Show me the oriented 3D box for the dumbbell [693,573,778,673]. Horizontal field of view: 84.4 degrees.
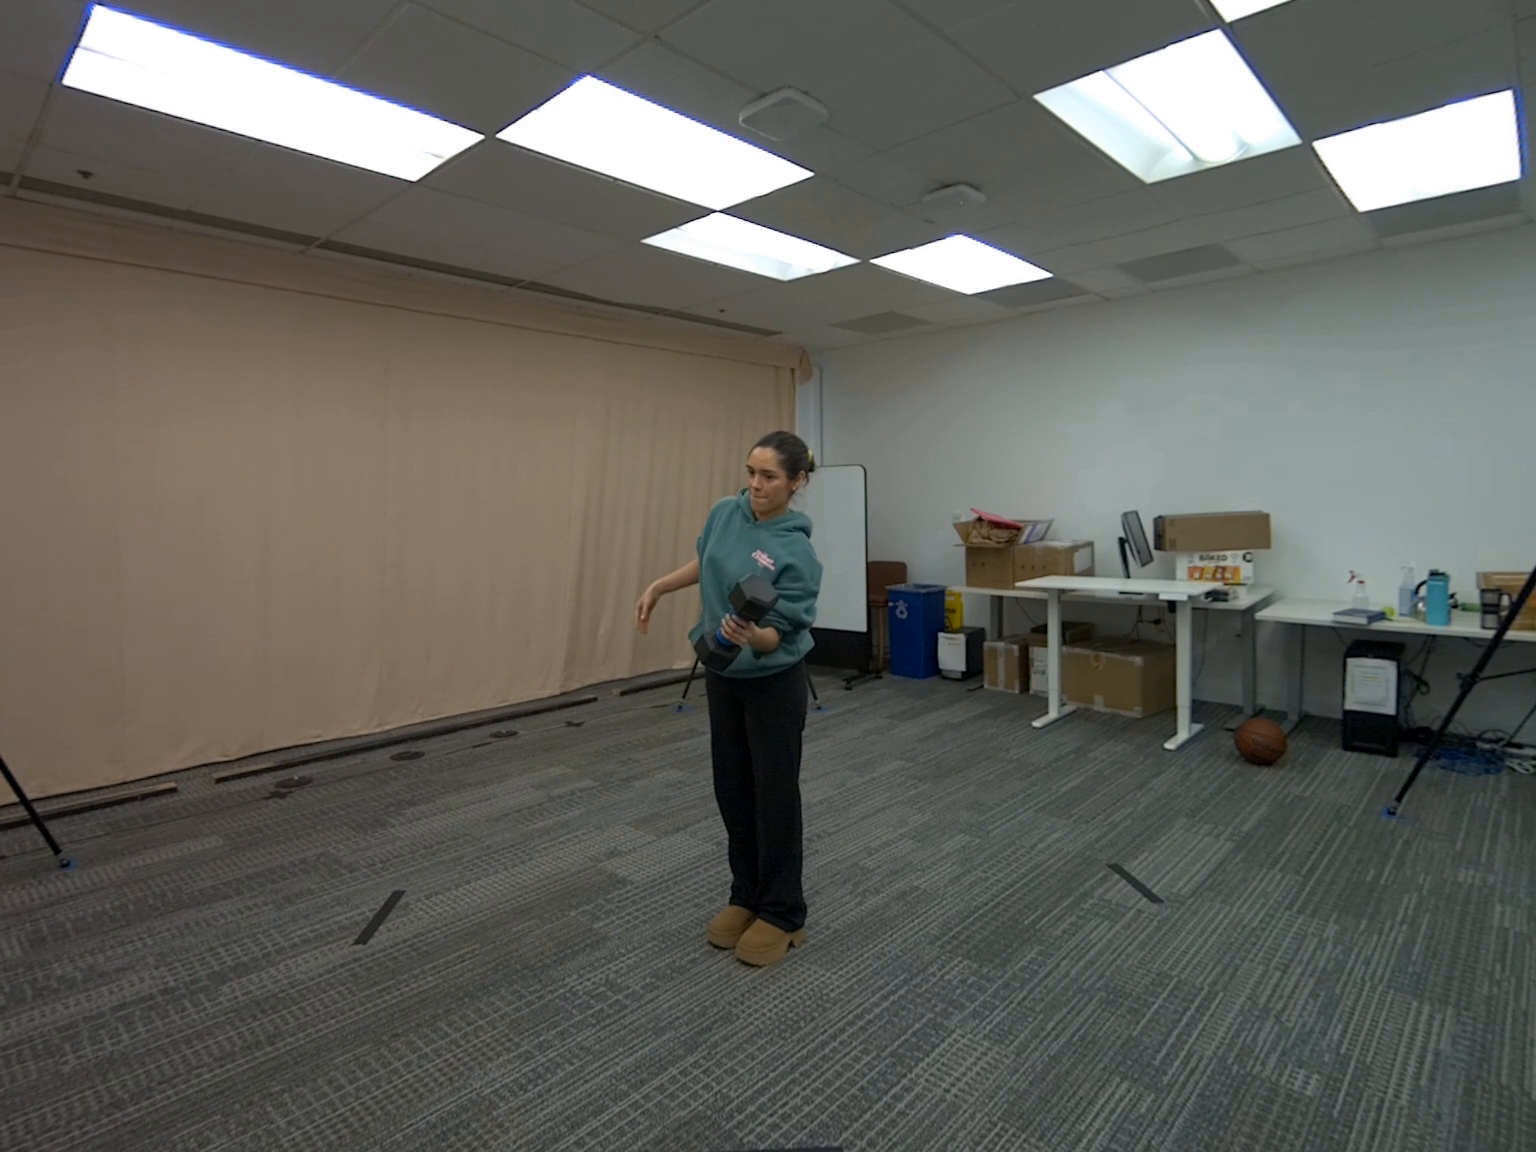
[{"bbox_3d":[-0.081,0.128,2.265,0.105,0.126,0.294,1,-42,-39],"label":"dumbbell"}]
